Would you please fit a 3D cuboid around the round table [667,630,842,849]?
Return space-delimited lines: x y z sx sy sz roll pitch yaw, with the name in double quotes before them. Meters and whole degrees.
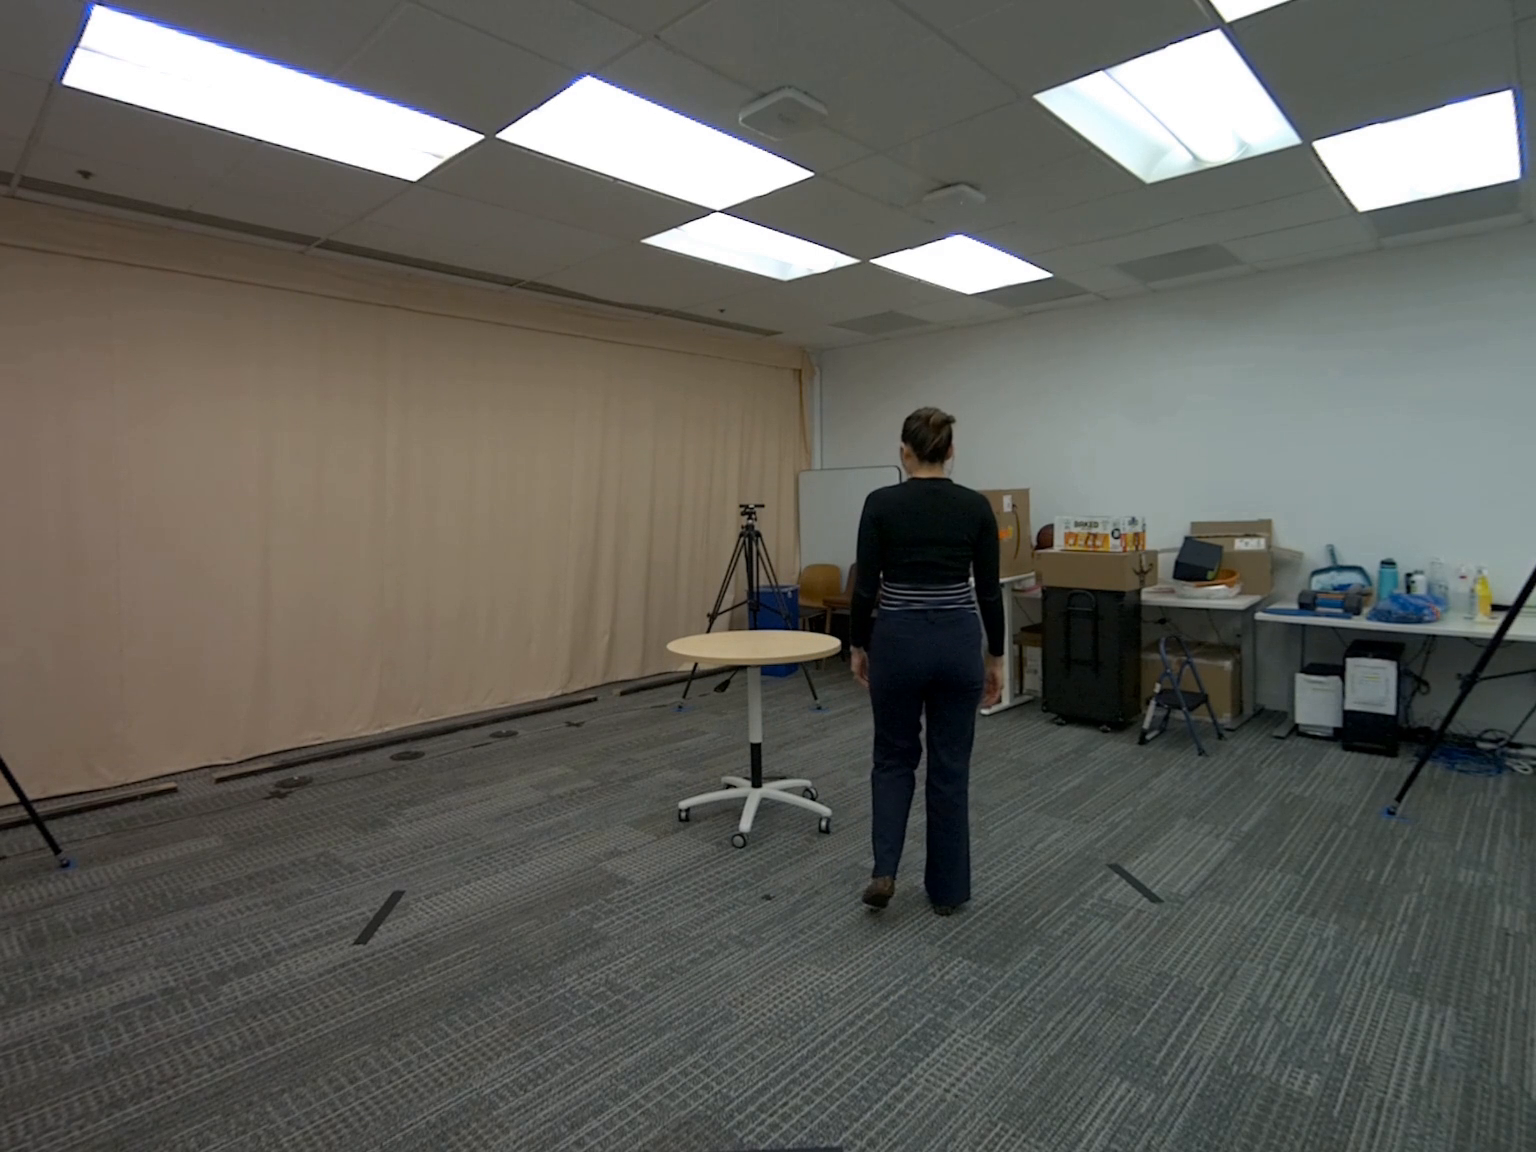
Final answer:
"round table" -0.047 0.688 3.725 0.763 0.792 0.766 -1 3 -2
